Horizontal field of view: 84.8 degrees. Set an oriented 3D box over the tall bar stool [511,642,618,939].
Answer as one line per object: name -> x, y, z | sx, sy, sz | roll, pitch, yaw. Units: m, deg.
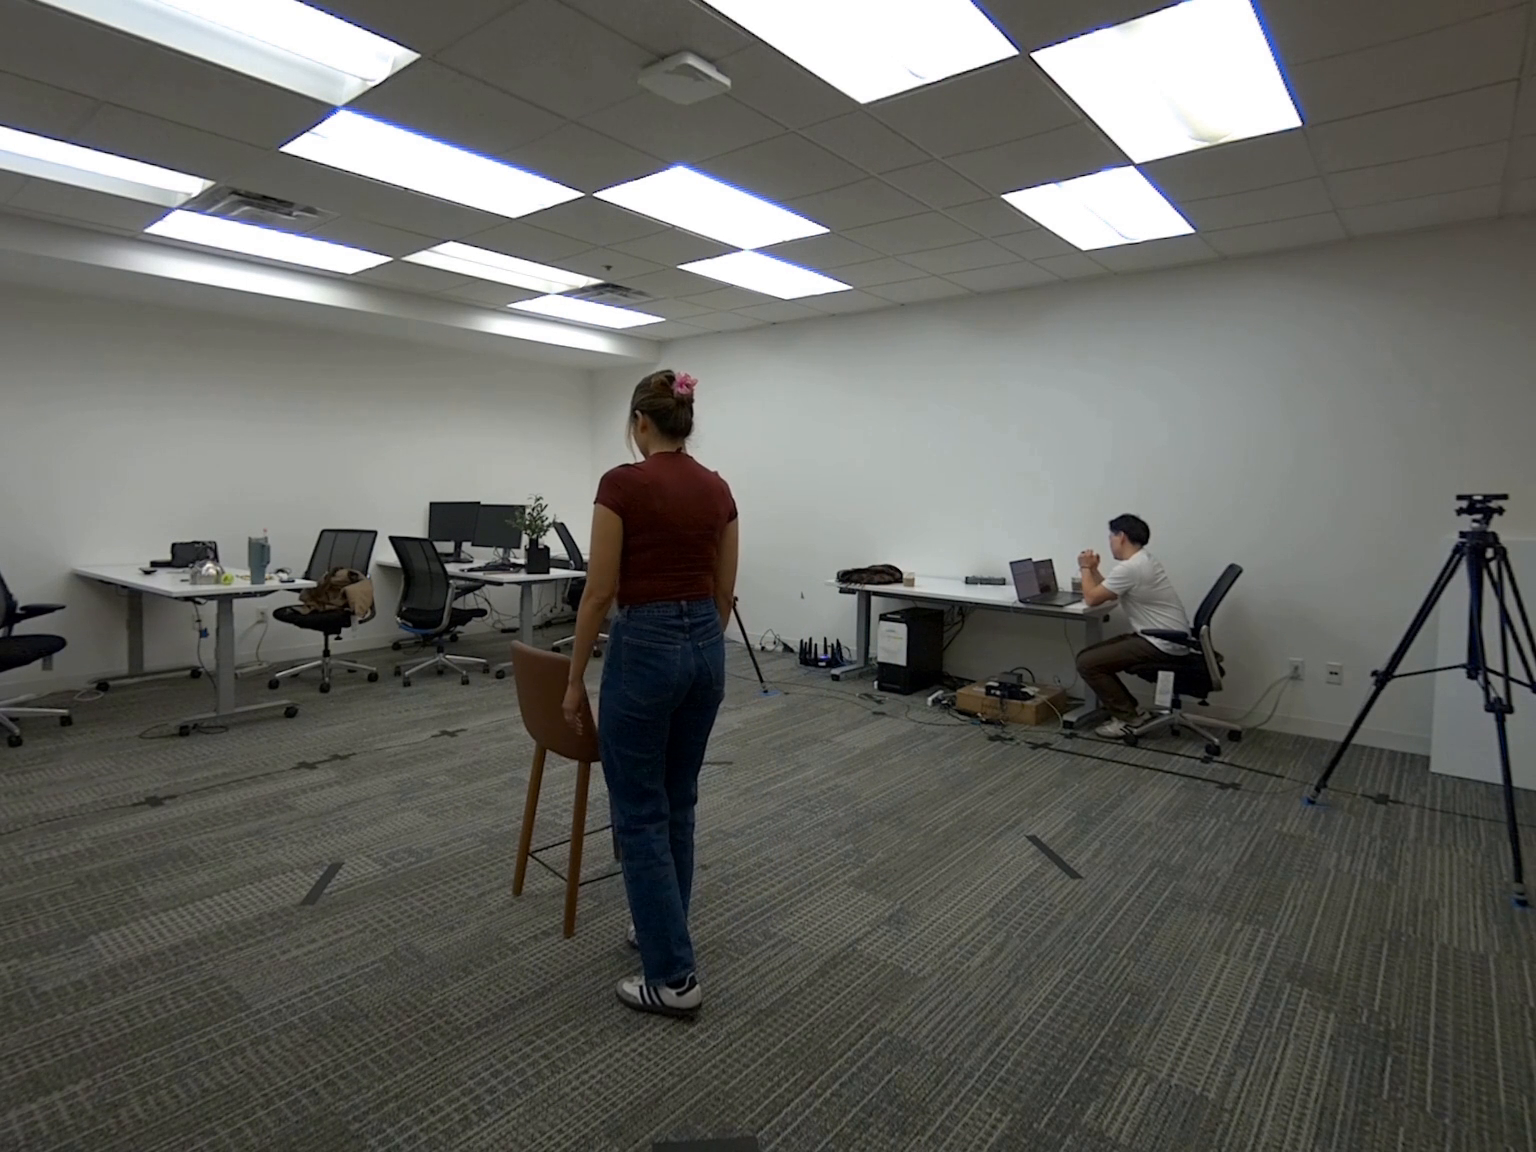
tall bar stool -> -0.597, 0.650, 2.868 | 0.454, 0.886, 0.472 | -4, 6, -42
